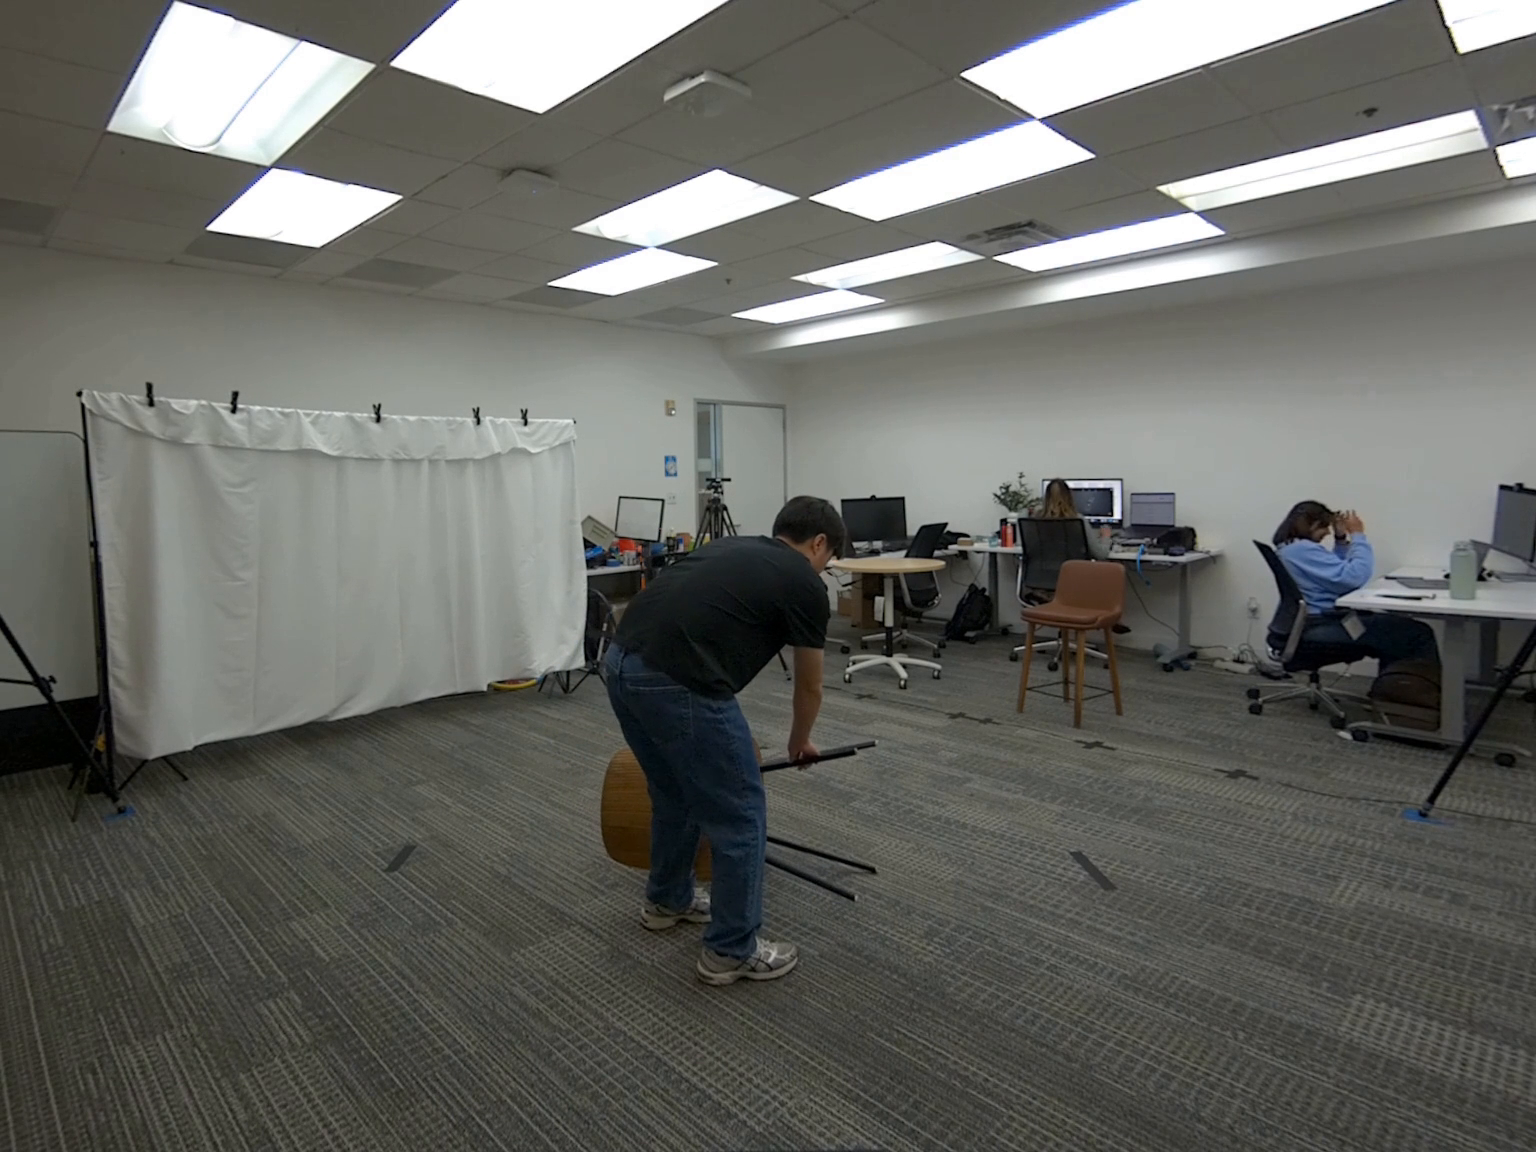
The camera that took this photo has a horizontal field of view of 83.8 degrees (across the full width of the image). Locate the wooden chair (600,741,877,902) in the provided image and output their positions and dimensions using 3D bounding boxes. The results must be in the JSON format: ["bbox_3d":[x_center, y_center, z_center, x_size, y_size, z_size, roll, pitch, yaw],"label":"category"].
[{"bbox_3d":[-0.077,0.800,2.985,0.889,0.482,0.512,-1,-8,13],"label":"wooden chair"}]
